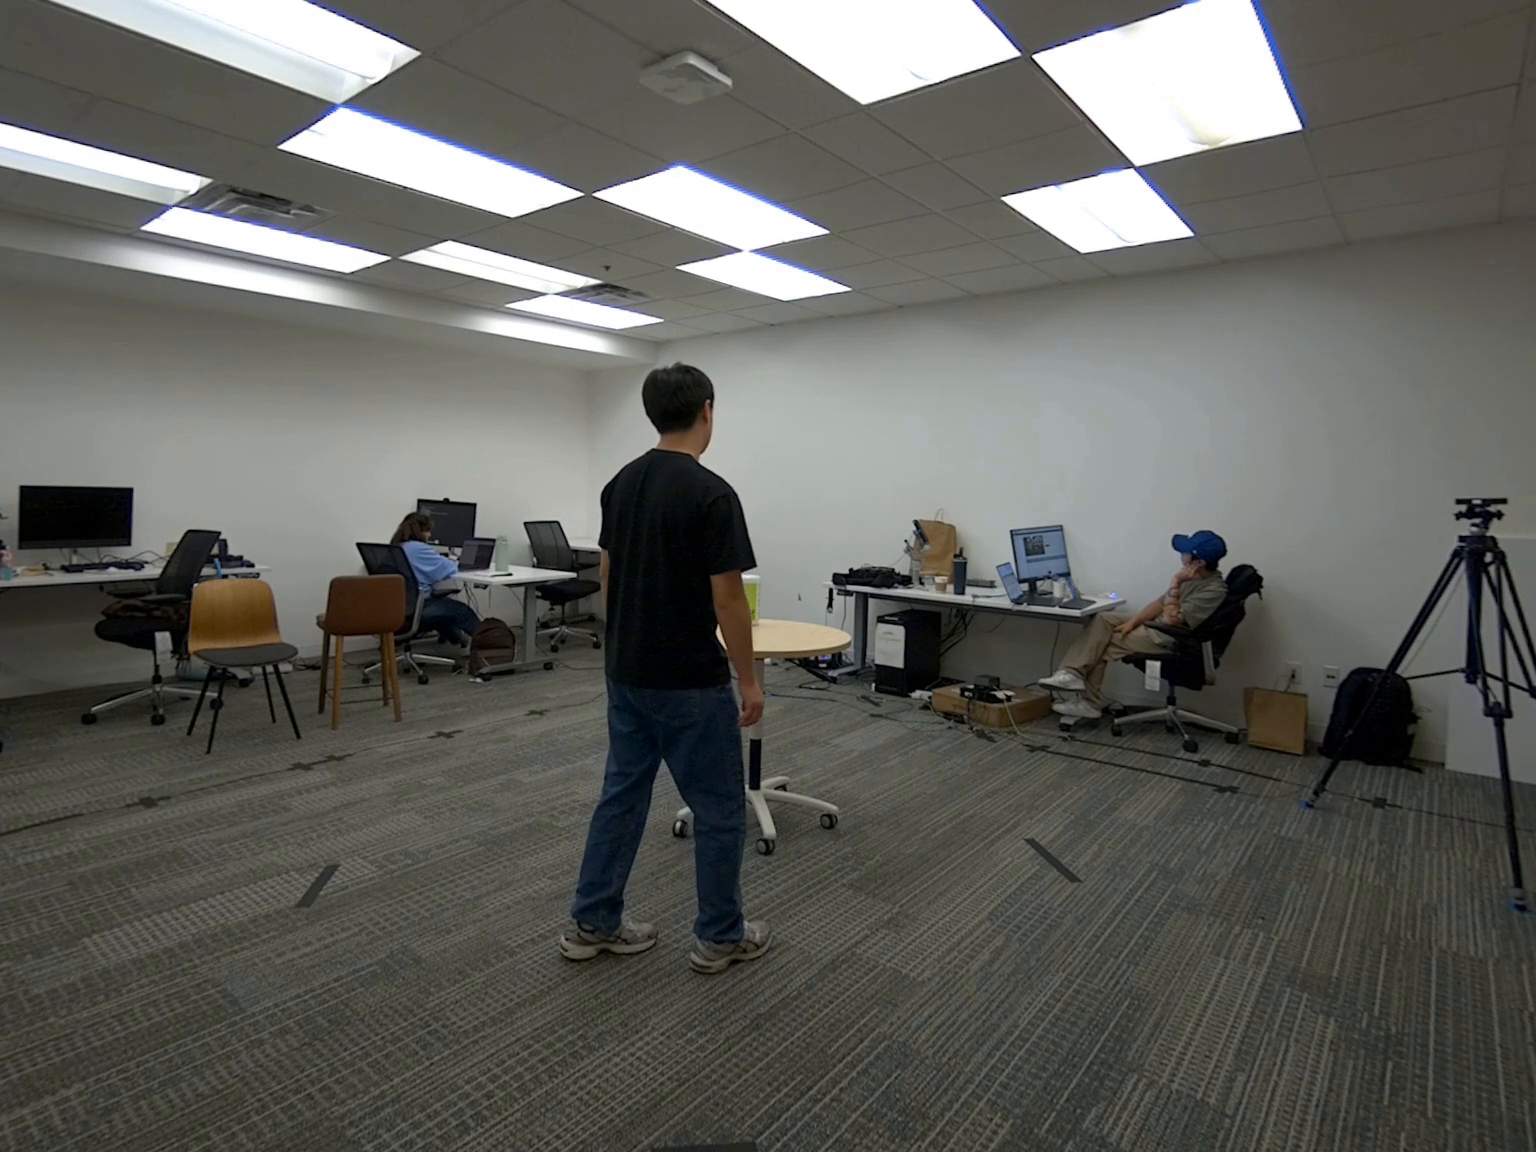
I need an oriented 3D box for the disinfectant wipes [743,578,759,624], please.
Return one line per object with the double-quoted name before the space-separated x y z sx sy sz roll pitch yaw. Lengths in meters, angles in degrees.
"disinfectant wipes" -0.101 0.105 3.765 0.117 0.217 0.118 3 3 -2
